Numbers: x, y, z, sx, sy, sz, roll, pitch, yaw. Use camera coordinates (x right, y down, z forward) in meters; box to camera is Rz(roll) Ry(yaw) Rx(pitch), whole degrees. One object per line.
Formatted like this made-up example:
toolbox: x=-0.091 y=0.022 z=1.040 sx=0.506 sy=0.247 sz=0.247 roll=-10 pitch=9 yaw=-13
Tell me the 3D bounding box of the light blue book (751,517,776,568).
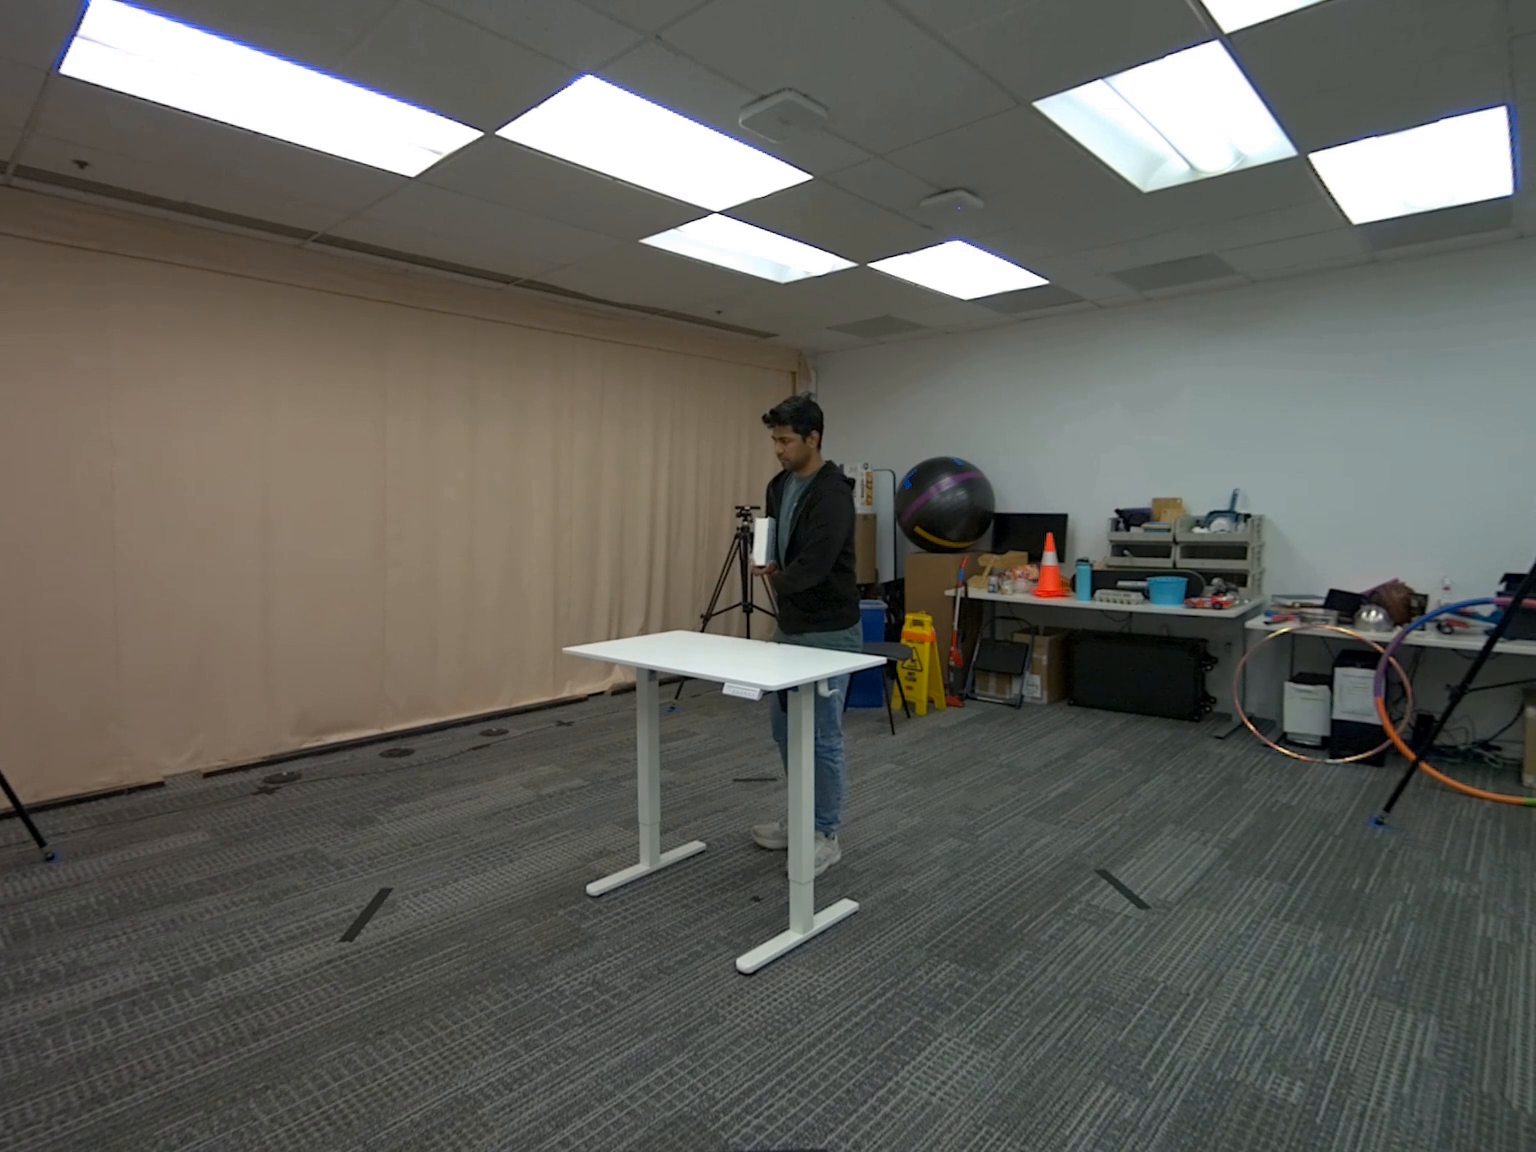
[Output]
light blue book: x=0.009 y=-0.121 z=3.374 sx=0.060 sy=0.192 sz=0.254 roll=2 pitch=-5 yaw=21
